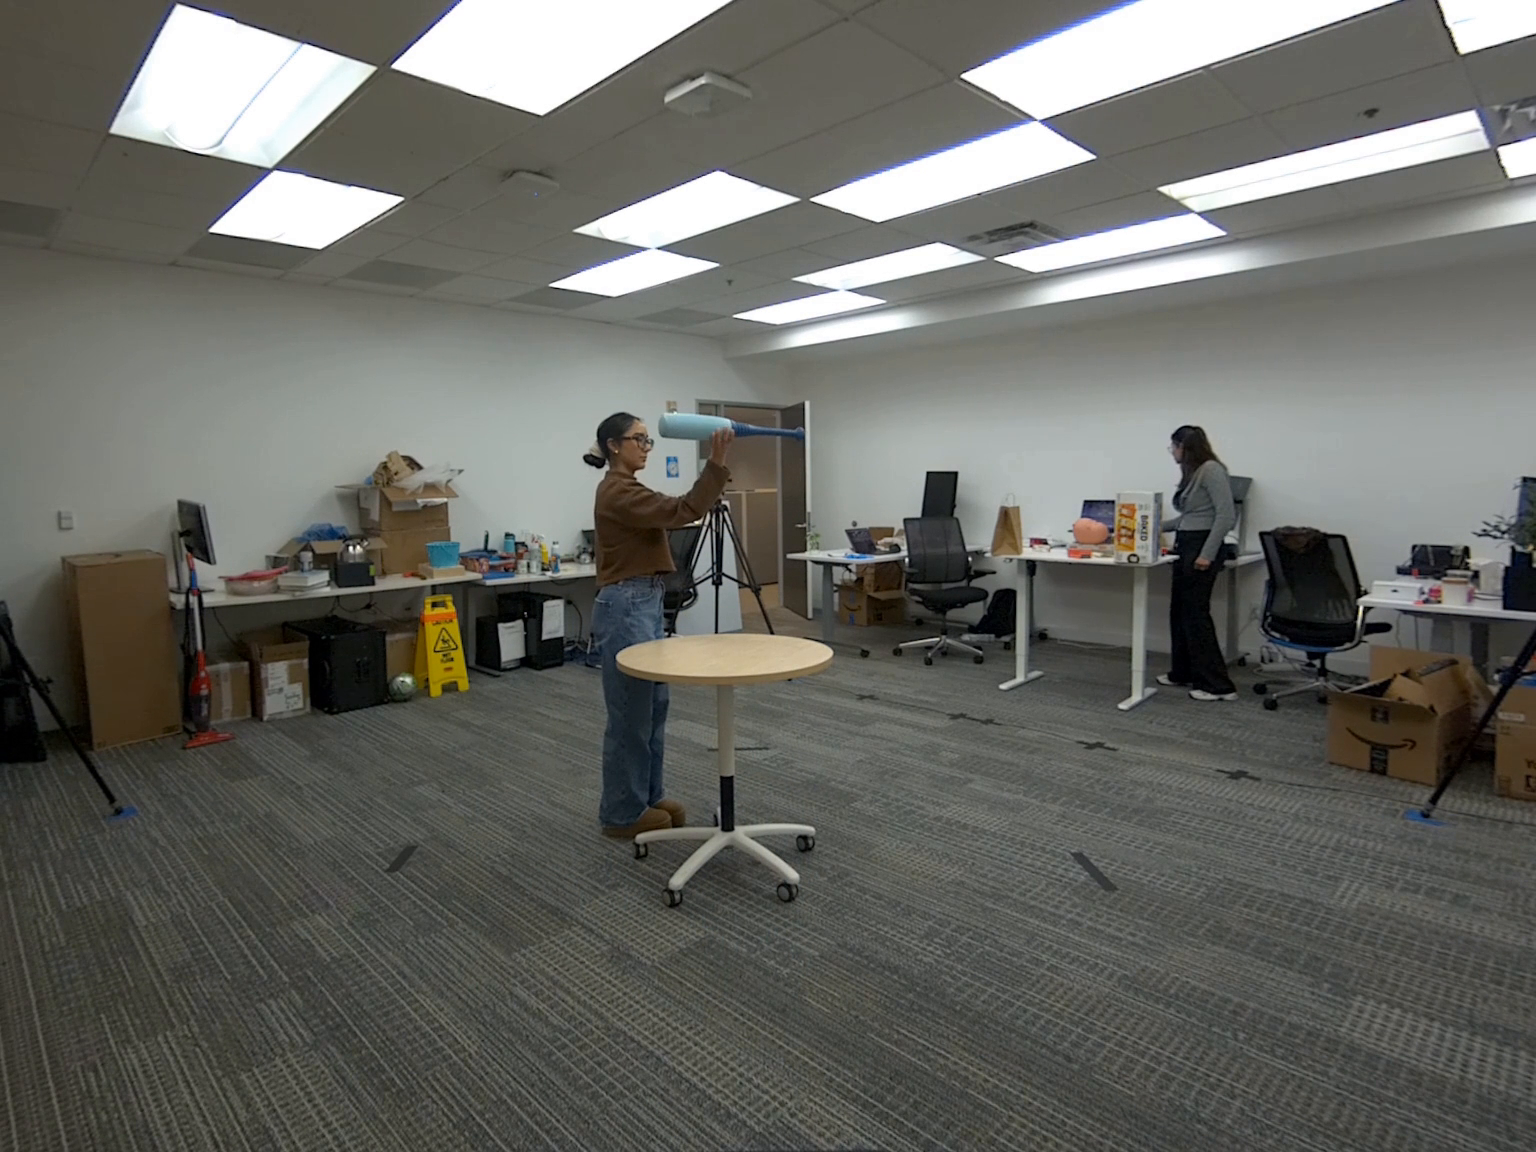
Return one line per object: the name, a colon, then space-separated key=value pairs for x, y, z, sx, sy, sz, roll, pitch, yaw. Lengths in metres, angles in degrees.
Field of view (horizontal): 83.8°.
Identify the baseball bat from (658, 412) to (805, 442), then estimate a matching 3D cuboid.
baseball bat: x=-0.116 y=-0.516 z=3.011 sx=0.533 sy=0.089 sz=0.091 roll=0 pitch=4 yaw=-19
